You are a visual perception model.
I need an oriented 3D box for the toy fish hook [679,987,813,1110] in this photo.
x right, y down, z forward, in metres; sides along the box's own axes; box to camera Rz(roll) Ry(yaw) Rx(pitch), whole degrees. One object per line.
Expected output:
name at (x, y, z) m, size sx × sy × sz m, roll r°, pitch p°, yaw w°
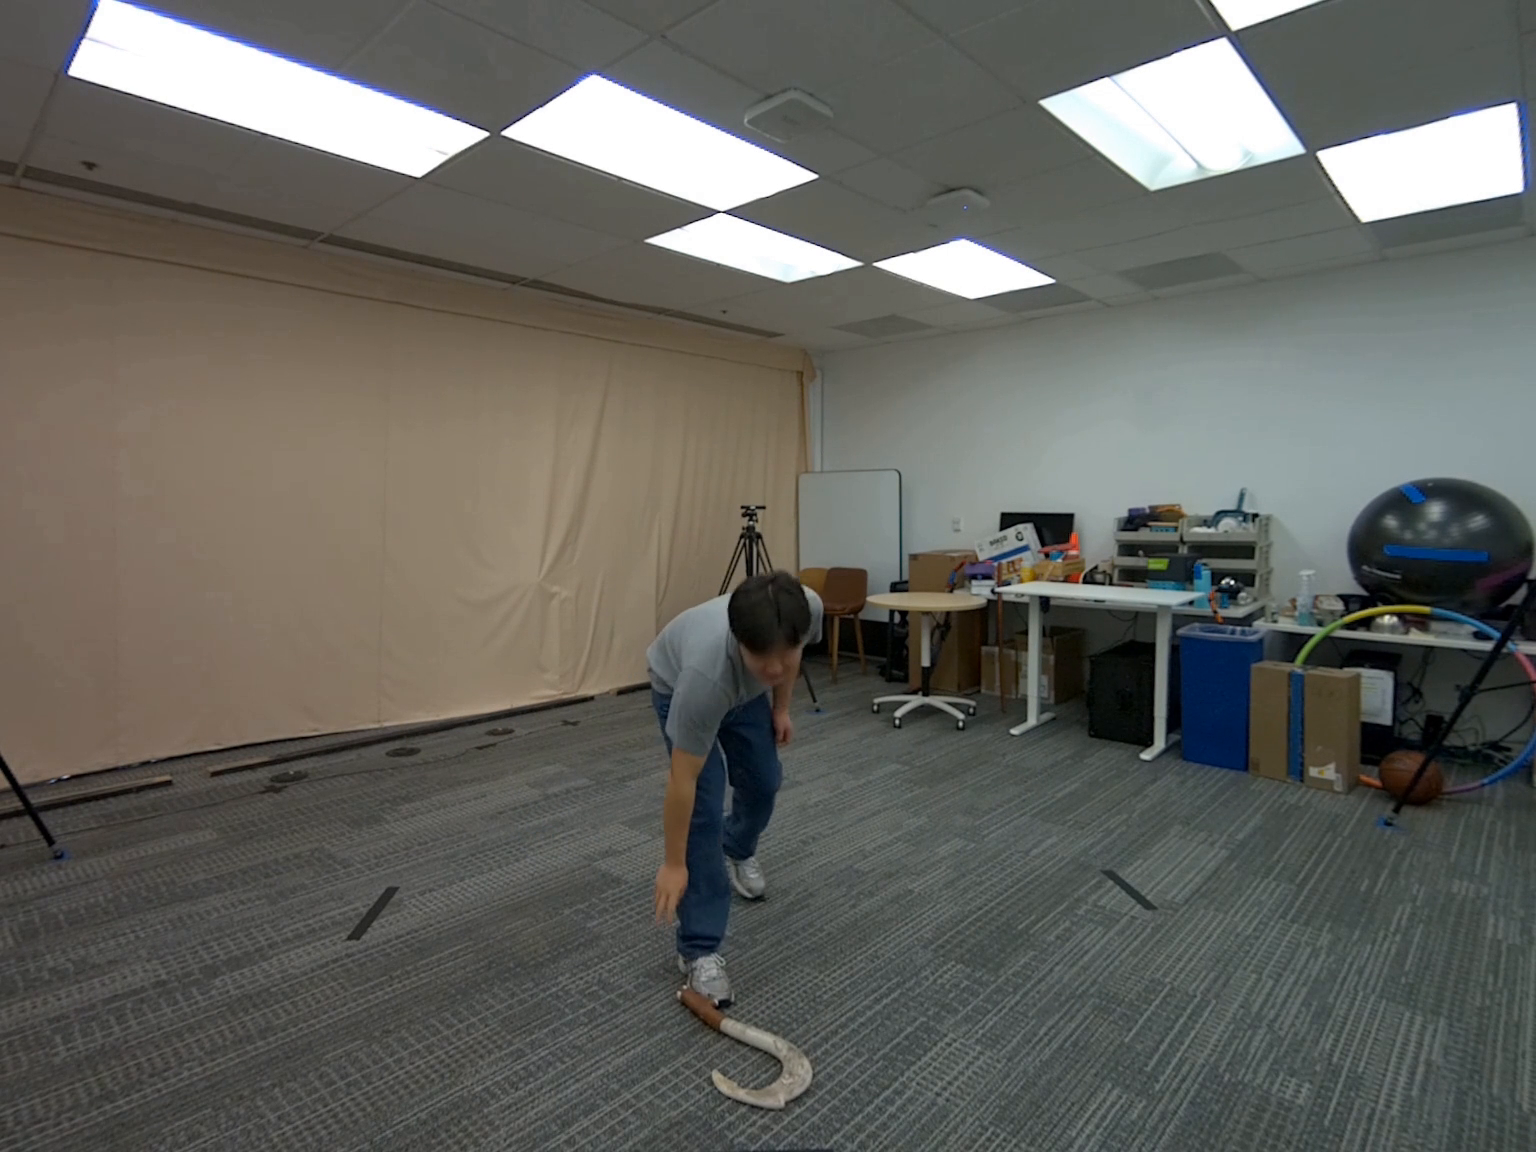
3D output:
toy fish hook at (-0.109, 1.188, 2.149) m, size 0.218 × 0.048 × 0.523 m, roll -3°, pitch 5°, yaw -43°
